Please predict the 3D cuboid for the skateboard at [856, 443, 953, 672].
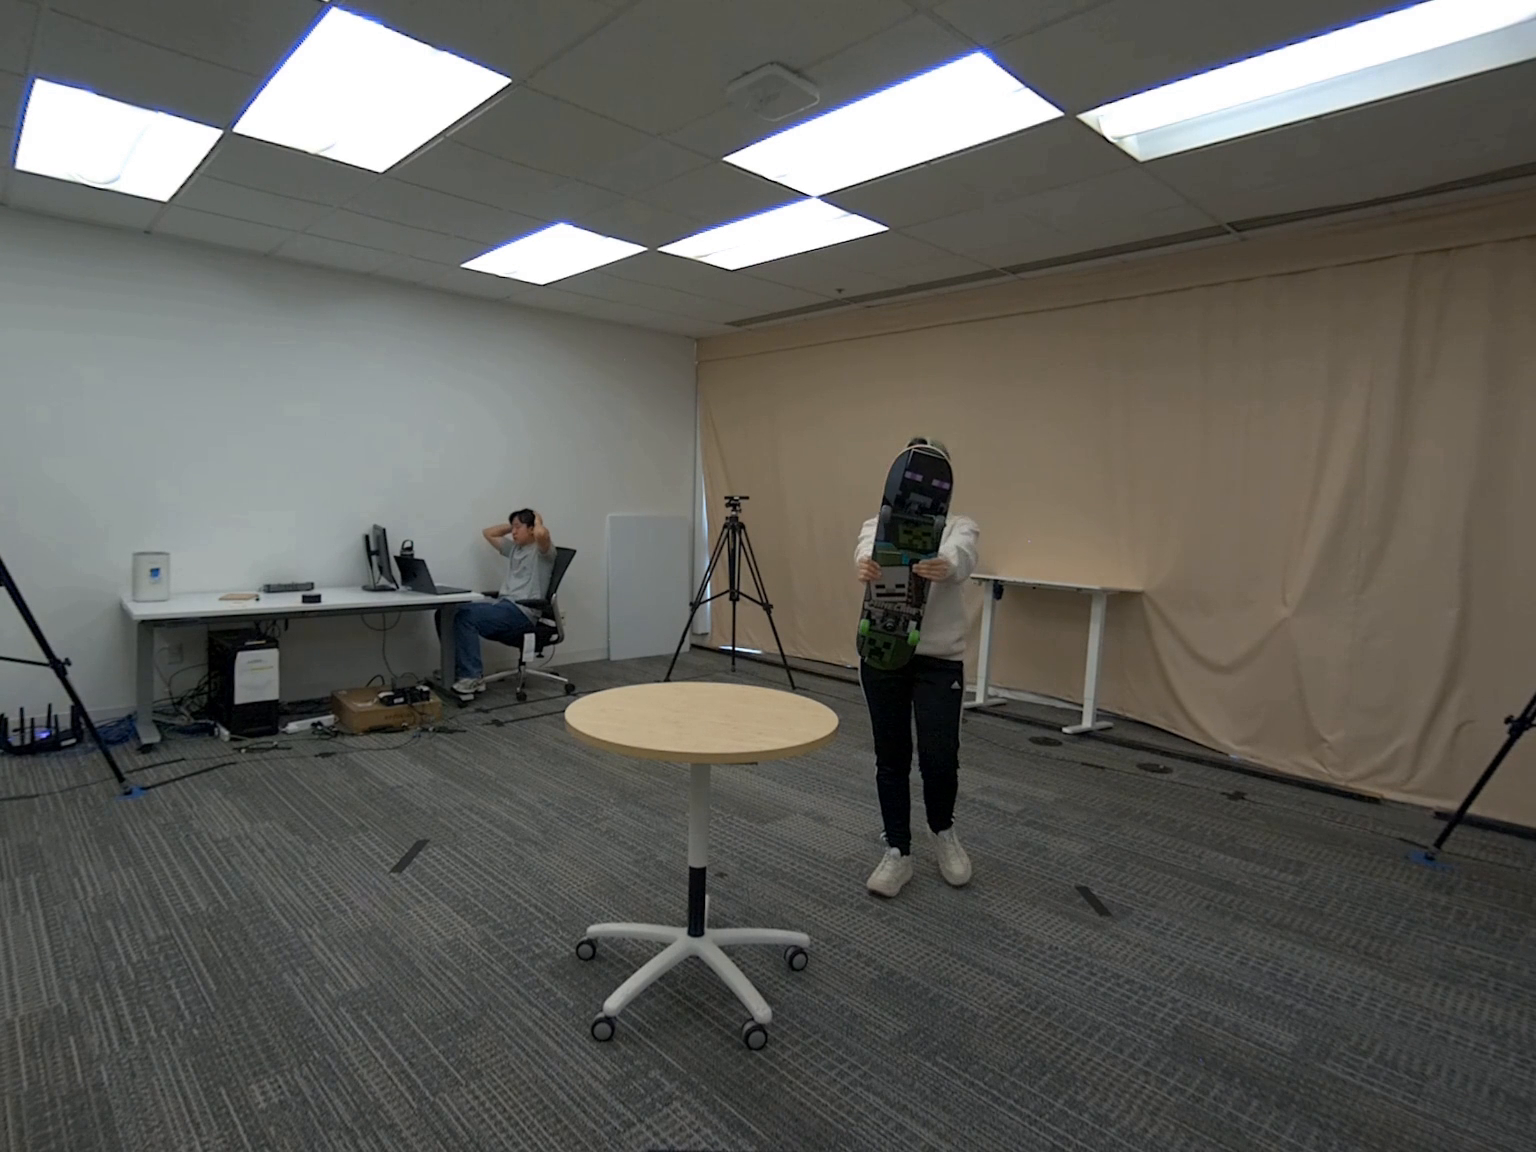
[{"bbox_3d":[0.404,-0.005,2.527,0.195,0.773,0.111,15,29,11],"label":"skateboard"}]
